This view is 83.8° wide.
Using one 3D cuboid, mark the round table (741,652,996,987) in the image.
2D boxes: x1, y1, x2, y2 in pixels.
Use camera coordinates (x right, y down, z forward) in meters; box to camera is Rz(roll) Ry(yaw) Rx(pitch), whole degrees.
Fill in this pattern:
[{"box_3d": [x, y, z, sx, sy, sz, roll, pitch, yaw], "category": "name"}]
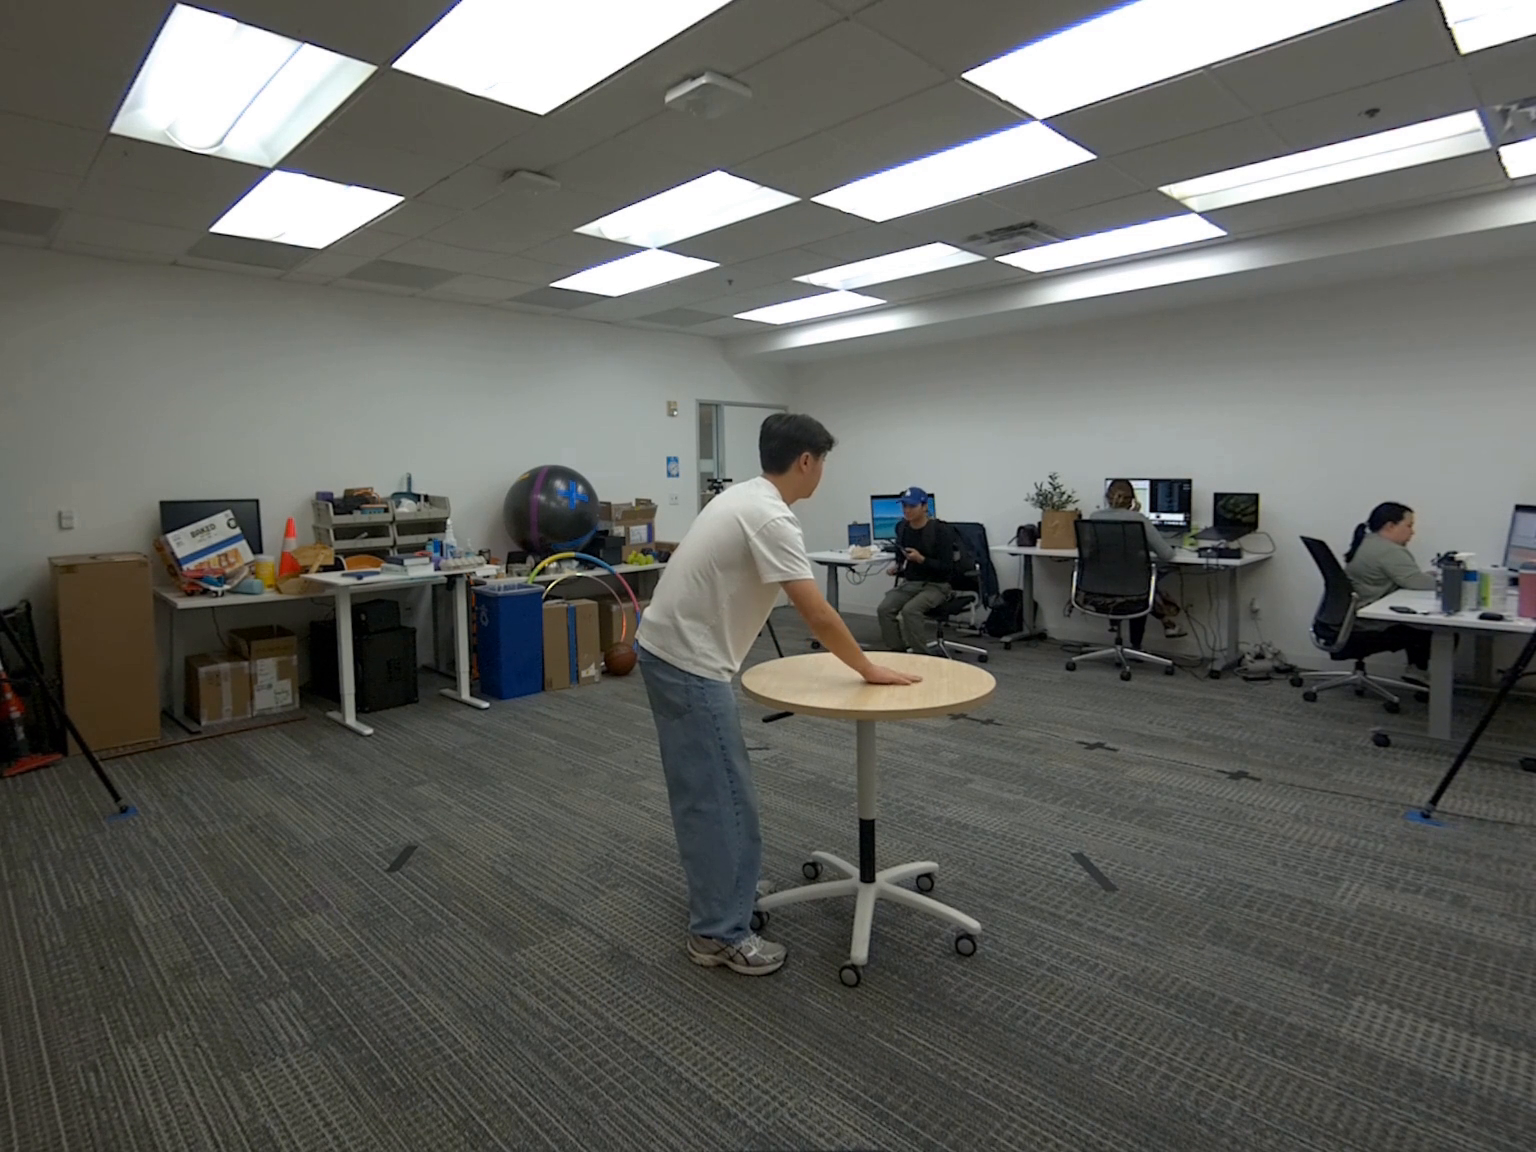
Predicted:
[{"box_3d": [0.309, 0.698, 2.660, 0.763, 0.791, 0.768, -1, 5, -2], "category": "round table"}]
